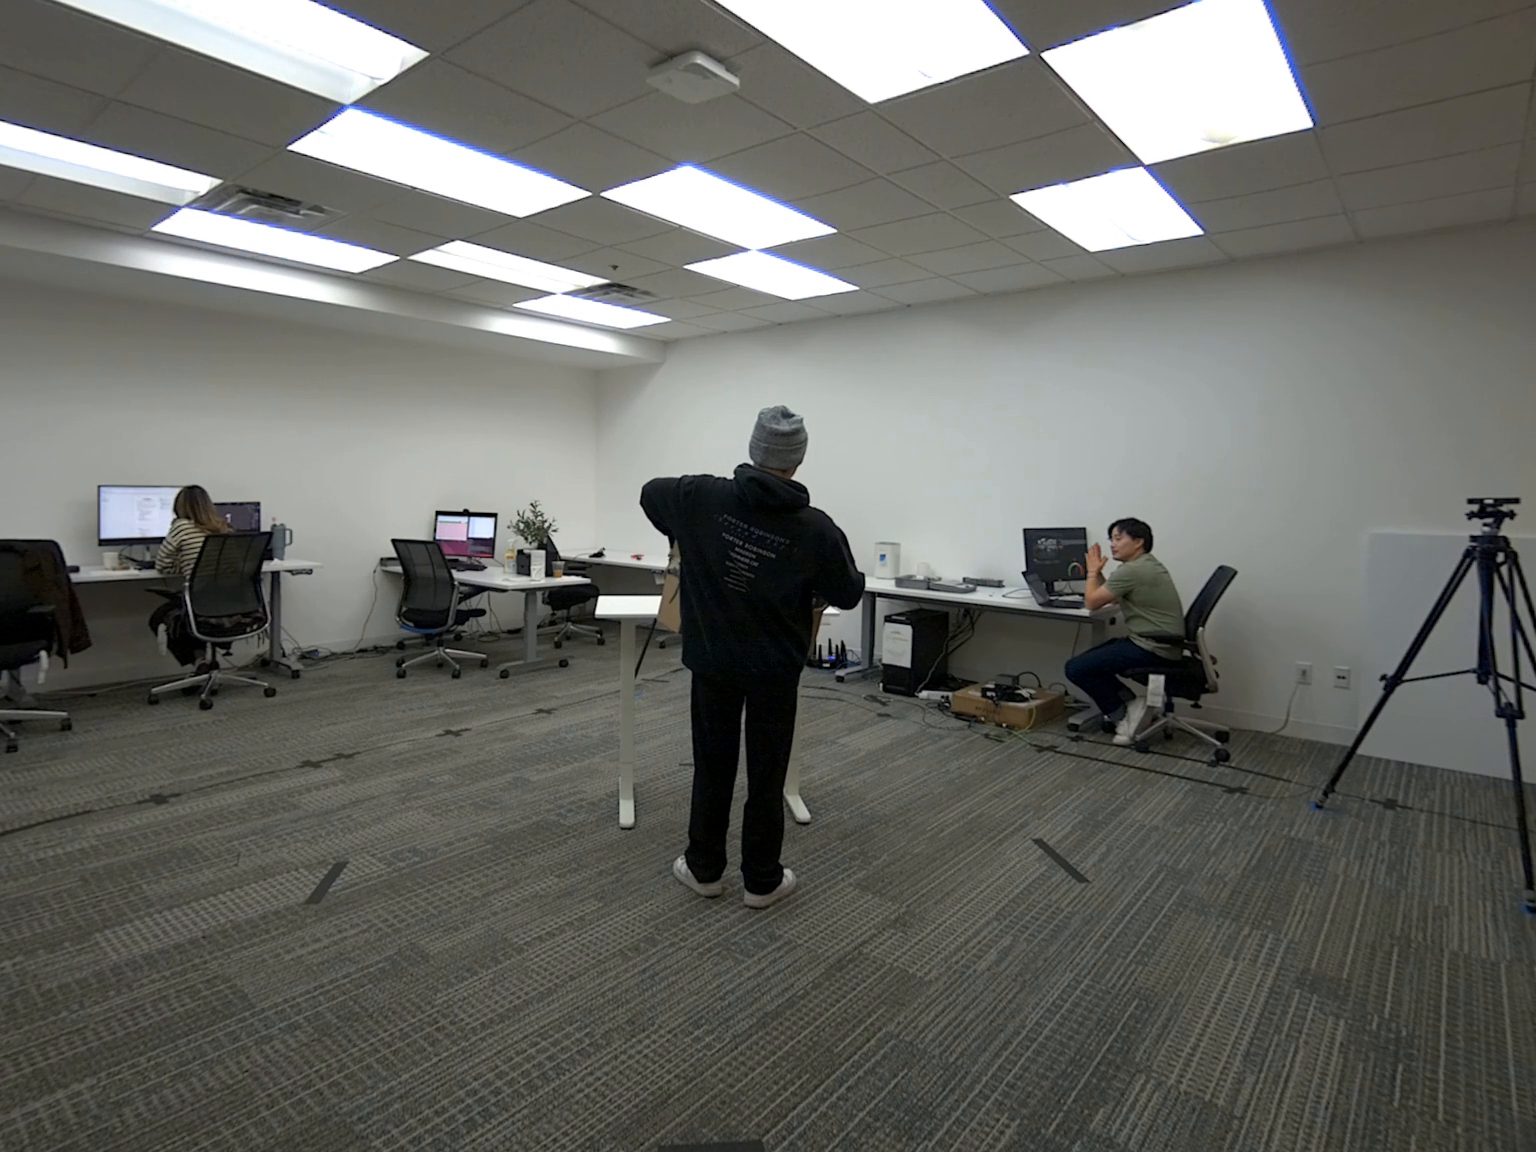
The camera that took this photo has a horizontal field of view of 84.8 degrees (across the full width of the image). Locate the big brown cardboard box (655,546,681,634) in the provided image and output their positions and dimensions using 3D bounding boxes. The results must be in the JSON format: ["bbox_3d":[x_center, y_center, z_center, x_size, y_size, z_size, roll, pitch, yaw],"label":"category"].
[{"bbox_3d":[-0.077,0.032,3.136,0.571,0.417,0.240,13,1,-27],"label":"big brown cardboard box"}]
